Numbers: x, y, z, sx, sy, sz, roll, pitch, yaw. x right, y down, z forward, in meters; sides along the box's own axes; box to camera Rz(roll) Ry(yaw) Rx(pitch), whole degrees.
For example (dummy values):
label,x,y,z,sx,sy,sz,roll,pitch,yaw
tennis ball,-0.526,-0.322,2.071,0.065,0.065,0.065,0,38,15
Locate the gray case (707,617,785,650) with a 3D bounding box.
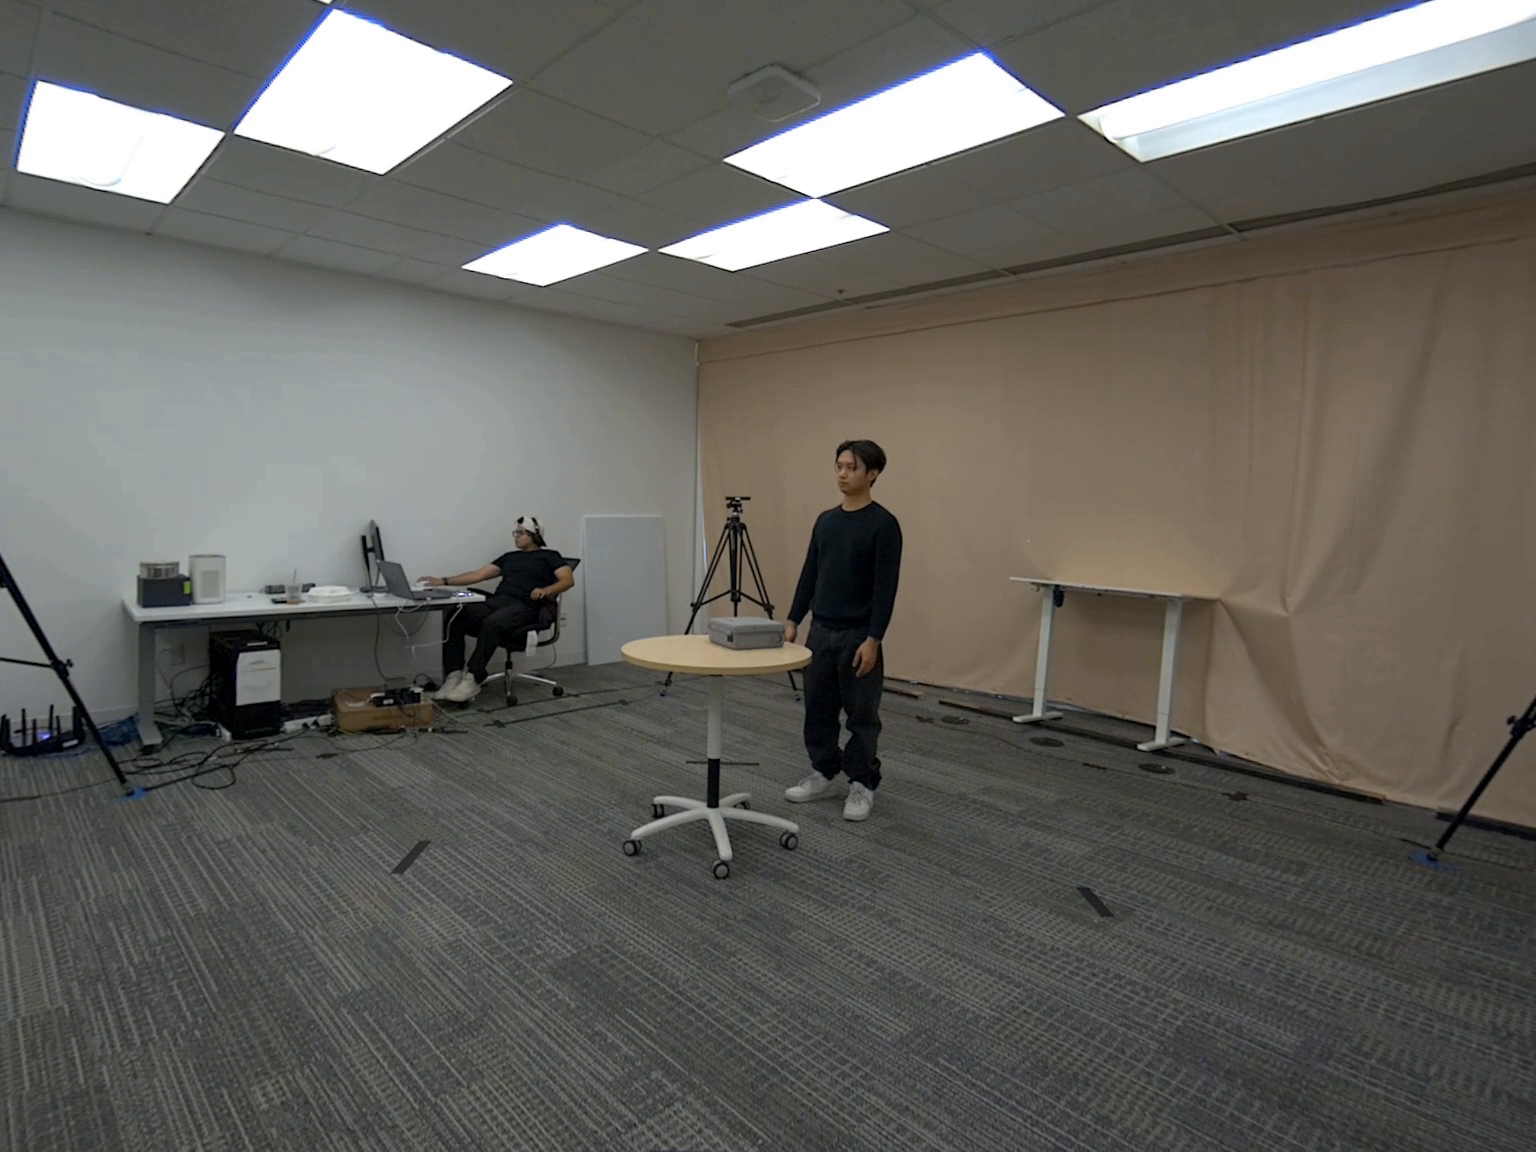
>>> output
label,x,y,z,sx,sy,sz,roll,pitch,yaw
gray case,-0.104,0.234,3.533,0.255,0.104,0.262,0,3,-31
